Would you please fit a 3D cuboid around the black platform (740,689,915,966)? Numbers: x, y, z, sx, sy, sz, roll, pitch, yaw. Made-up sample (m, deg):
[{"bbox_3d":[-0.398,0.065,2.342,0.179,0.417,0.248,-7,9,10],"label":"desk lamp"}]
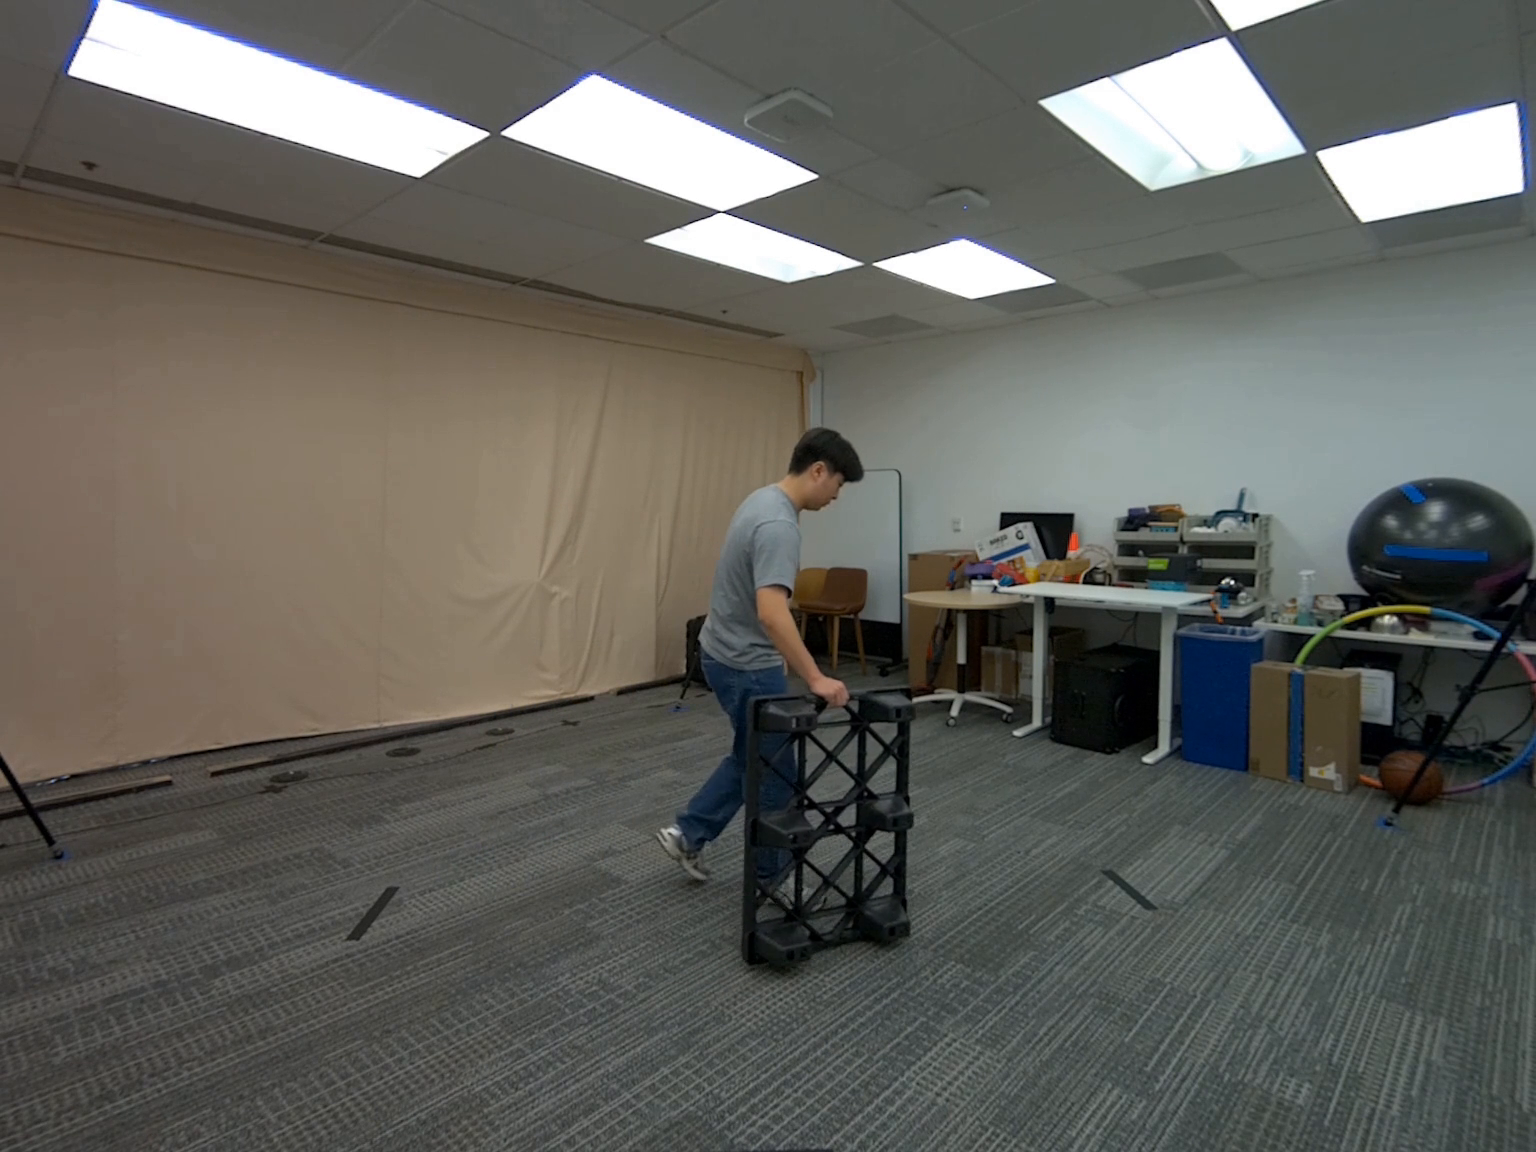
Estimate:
[{"bbox_3d":[0.221,0.762,2.602,0.590,0.805,0.147,0,2,-25],"label":"black platform"}]
